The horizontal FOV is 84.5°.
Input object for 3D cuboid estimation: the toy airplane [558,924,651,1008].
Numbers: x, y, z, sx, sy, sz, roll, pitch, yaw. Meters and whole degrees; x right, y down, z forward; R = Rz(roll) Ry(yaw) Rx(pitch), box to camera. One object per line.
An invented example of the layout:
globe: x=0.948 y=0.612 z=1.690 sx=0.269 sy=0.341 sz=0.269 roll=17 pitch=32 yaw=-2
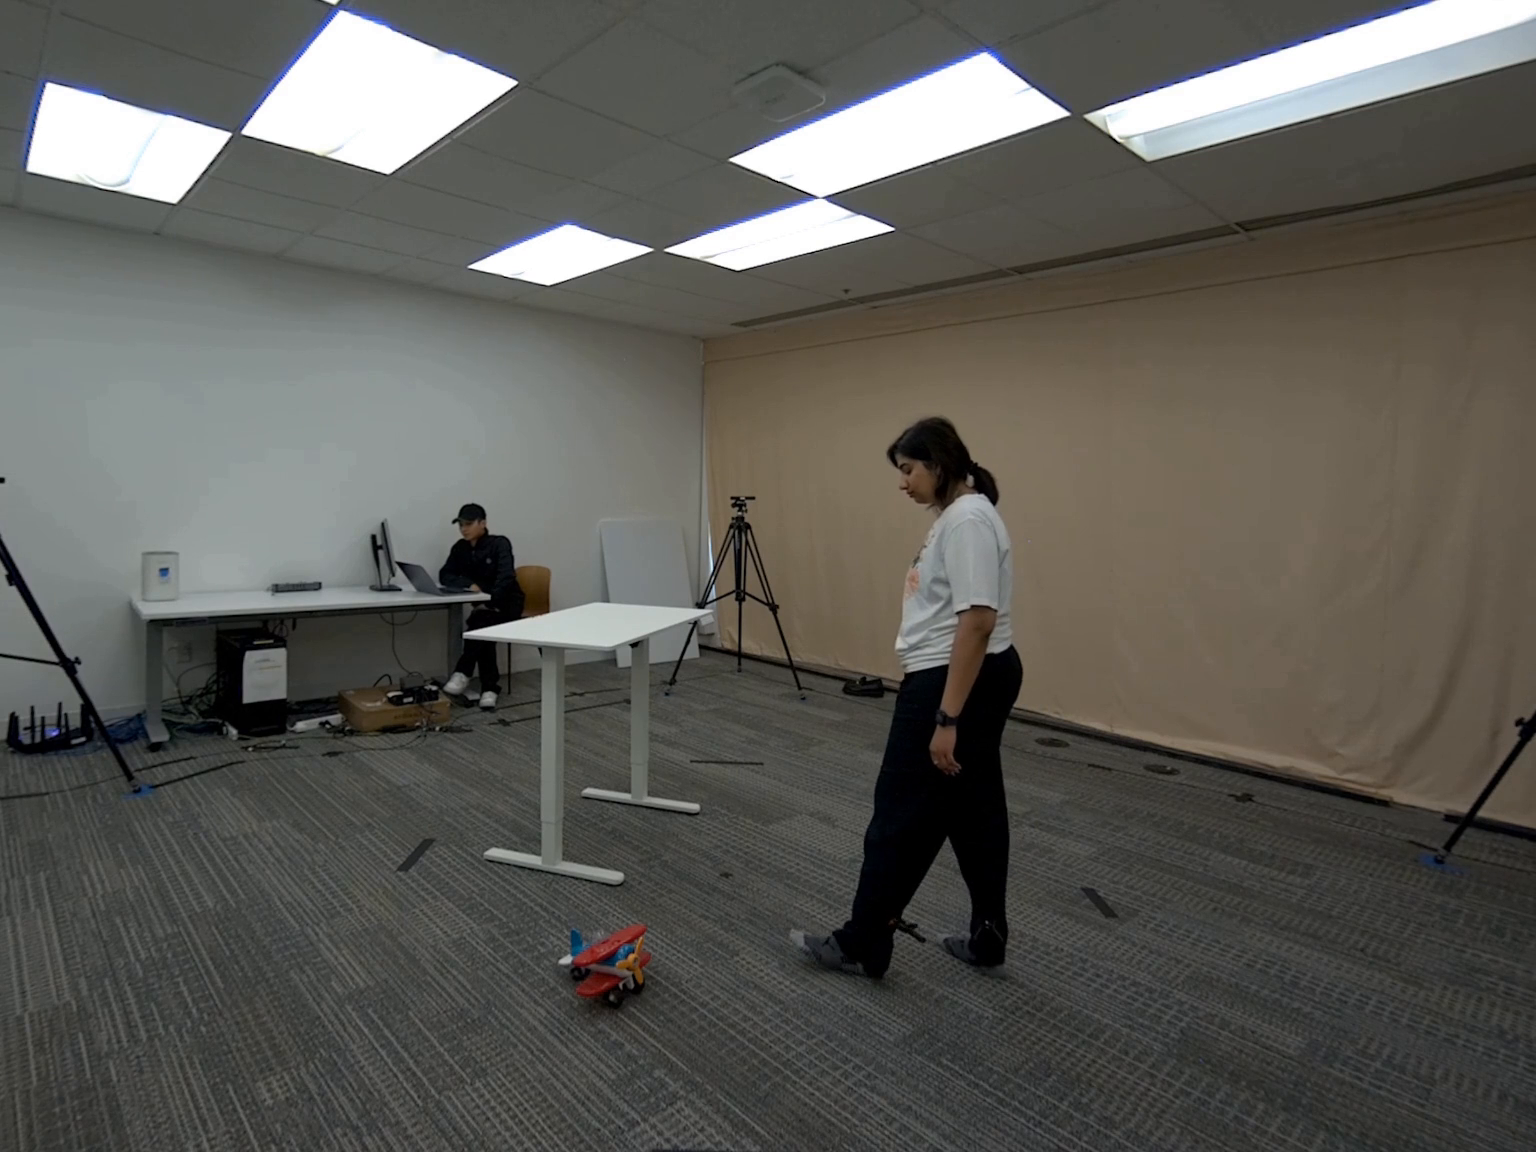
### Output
toy airplane: x=-0.472 y=1.082 z=2.361 sx=0.261 sy=0.156 sz=0.250 roll=1 pitch=6 yaw=8
